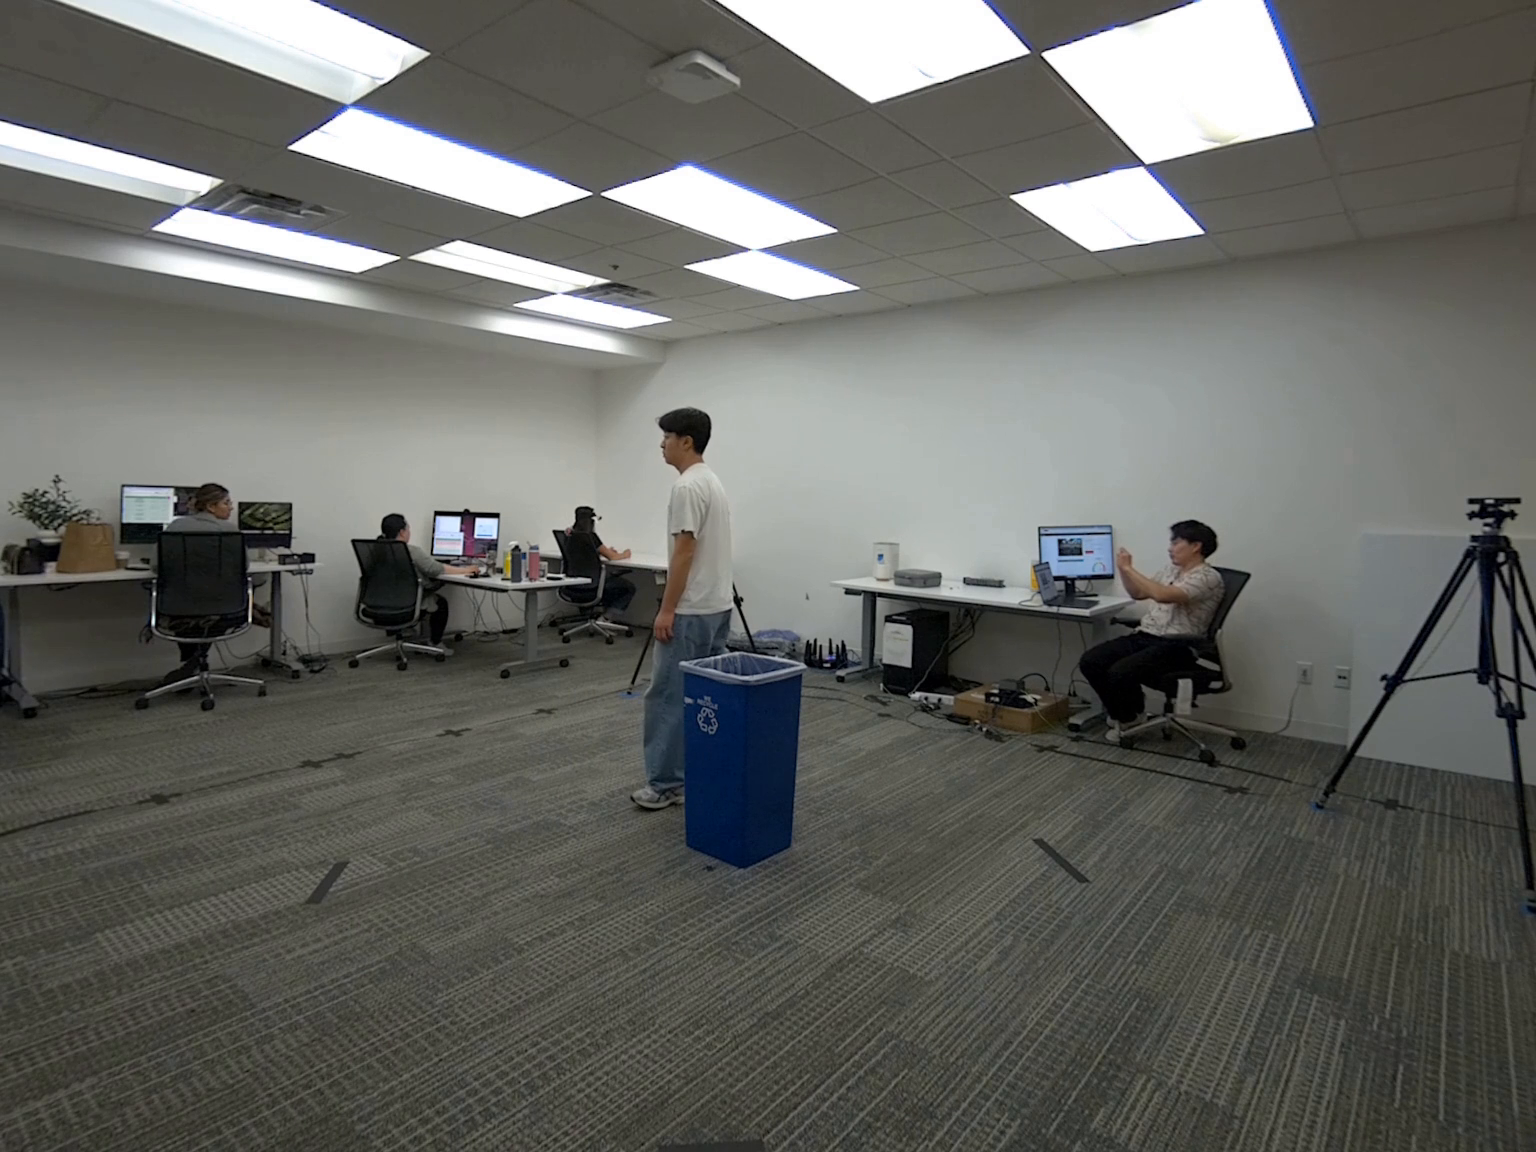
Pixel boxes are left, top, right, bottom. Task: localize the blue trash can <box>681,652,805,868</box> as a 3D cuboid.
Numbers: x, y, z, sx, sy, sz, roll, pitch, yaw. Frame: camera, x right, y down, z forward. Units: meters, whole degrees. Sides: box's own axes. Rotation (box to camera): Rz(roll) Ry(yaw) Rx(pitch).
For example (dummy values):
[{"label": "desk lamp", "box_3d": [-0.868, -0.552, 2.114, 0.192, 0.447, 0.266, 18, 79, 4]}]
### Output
[{"label": "blue trash can", "box_3d": [-0.106, 0.690, 3.293, 0.386, 0.711, 0.367, 3, 4, 40]}]
